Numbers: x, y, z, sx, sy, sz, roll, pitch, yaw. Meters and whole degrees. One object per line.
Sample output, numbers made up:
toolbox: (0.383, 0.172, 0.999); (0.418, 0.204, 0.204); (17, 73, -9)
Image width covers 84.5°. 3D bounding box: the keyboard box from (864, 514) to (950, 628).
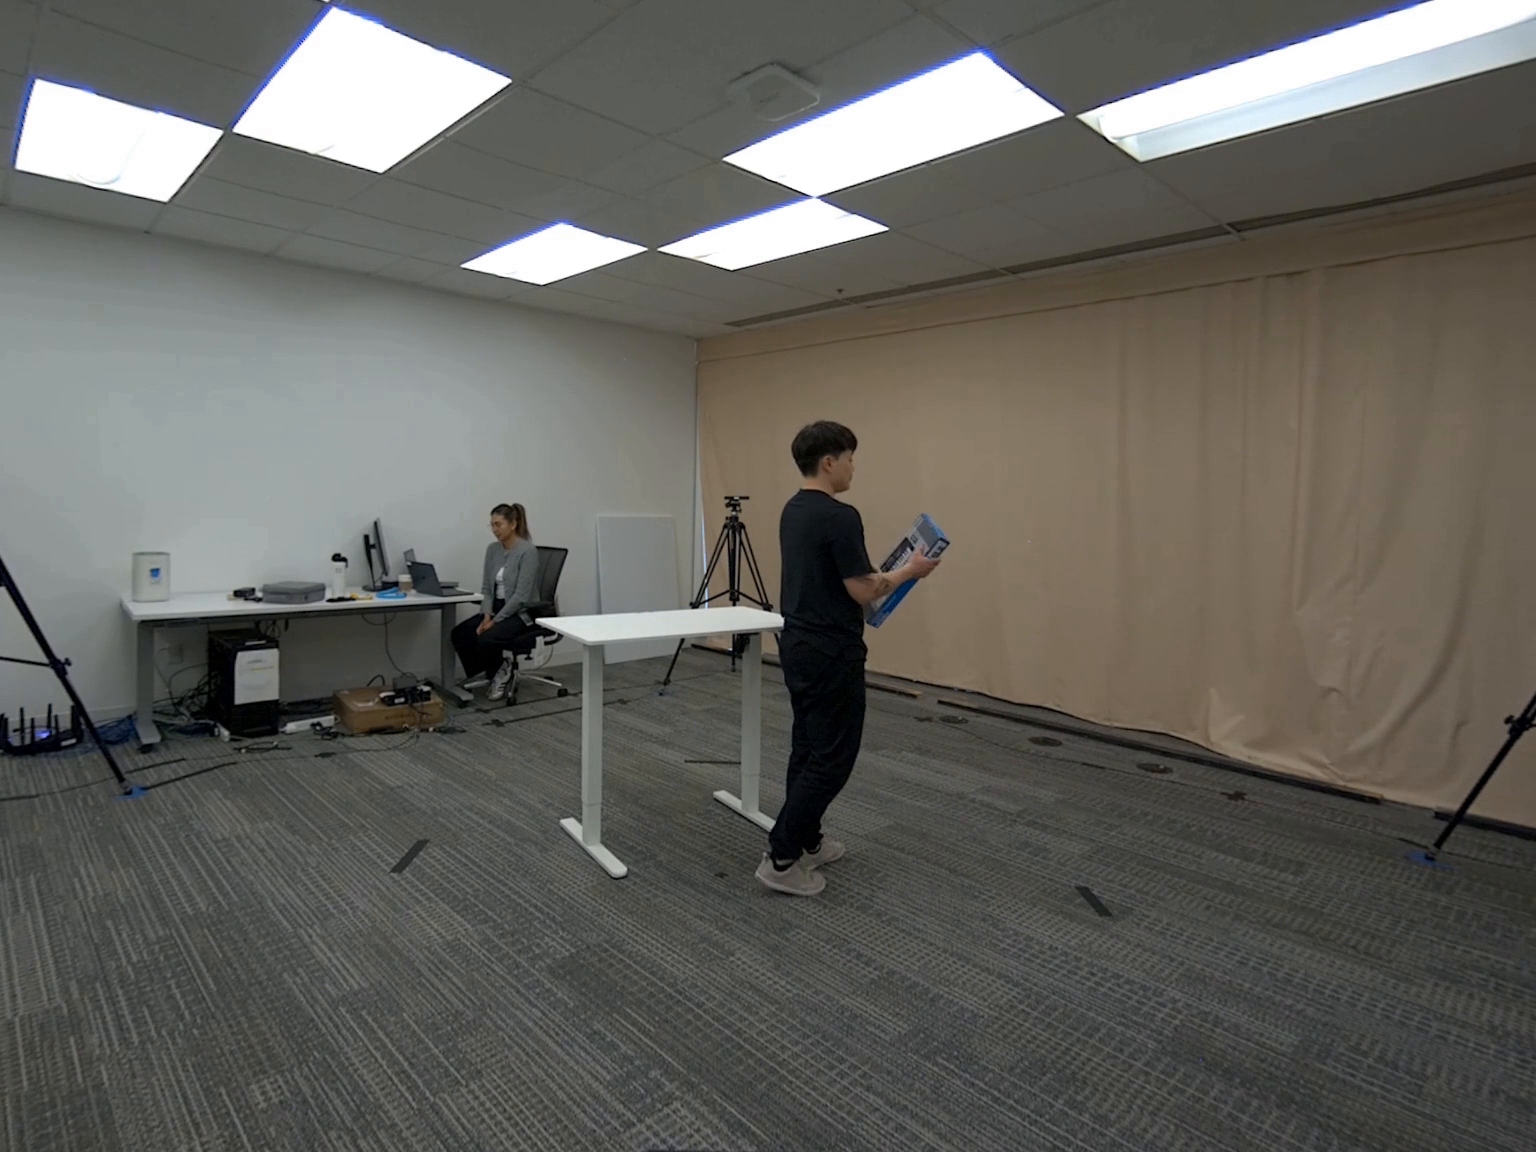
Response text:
keyboard box: (0.493, -0.018, 3.181); (0.057, 0.436, 0.181); (25, 24, -29)
